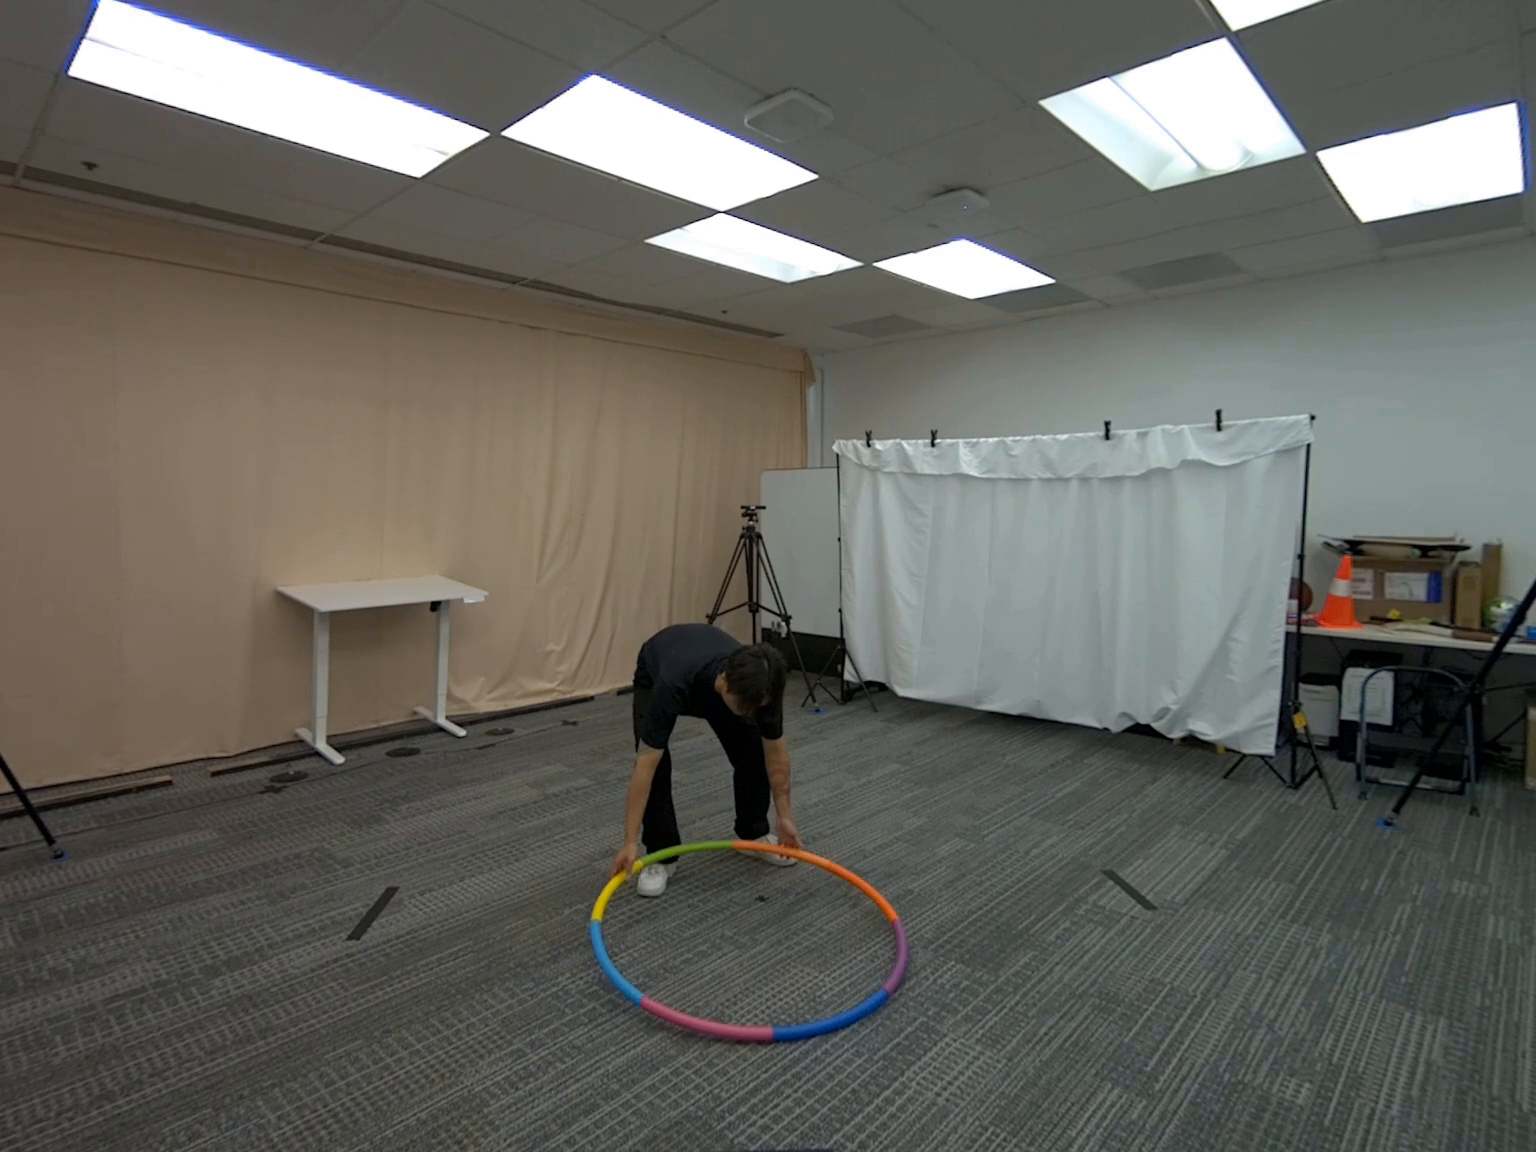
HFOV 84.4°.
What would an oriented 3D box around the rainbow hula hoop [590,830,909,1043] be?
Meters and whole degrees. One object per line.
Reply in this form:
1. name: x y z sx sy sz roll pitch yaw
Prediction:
1. rainbow hula hoop: -0.051 1.082 2.662 0.977 0.035 0.986 3 11 -3
